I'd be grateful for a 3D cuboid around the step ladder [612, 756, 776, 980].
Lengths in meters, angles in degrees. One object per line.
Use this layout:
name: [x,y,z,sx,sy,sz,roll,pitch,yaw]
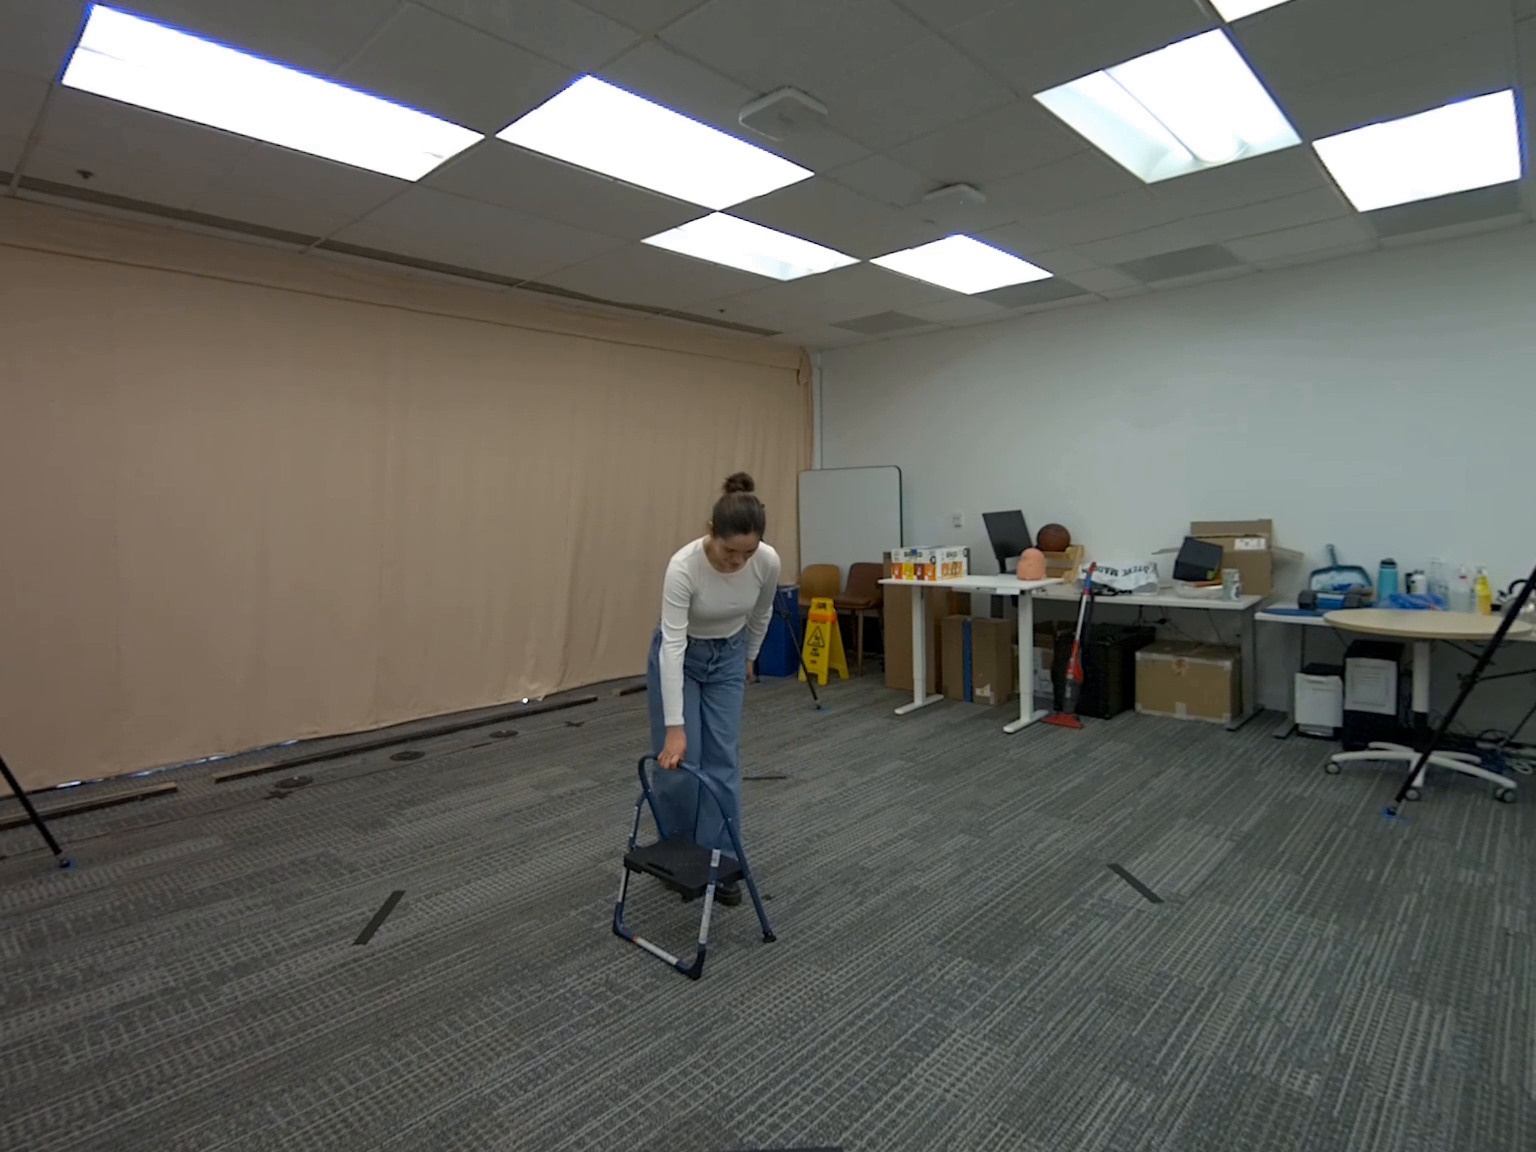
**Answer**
step ladder: [-0.251,0.861,2.712,0.445,0.605,0.338,3,5,44]
